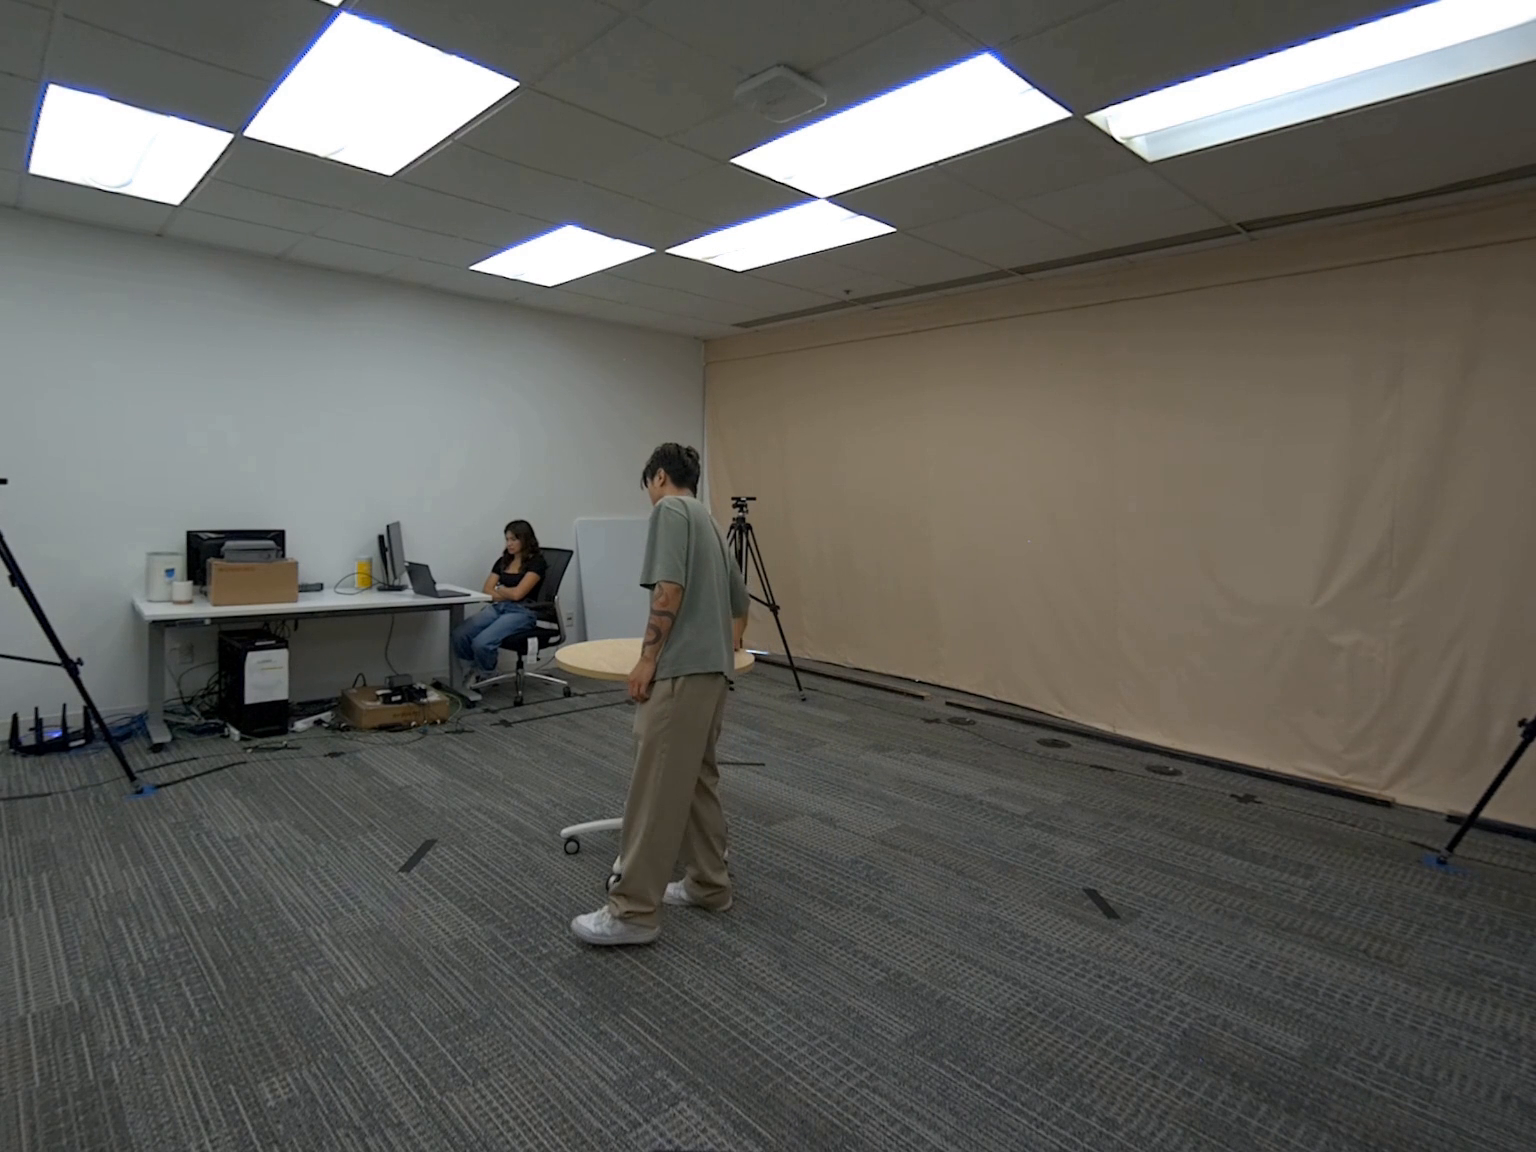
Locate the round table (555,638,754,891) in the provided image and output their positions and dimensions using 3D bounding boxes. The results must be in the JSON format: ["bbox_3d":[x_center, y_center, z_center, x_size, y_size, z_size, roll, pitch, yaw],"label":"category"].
[{"bbox_3d":[-0.458,0.699,3.281,0.763,0.792,0.766,2,4,-1],"label":"round table"}]
